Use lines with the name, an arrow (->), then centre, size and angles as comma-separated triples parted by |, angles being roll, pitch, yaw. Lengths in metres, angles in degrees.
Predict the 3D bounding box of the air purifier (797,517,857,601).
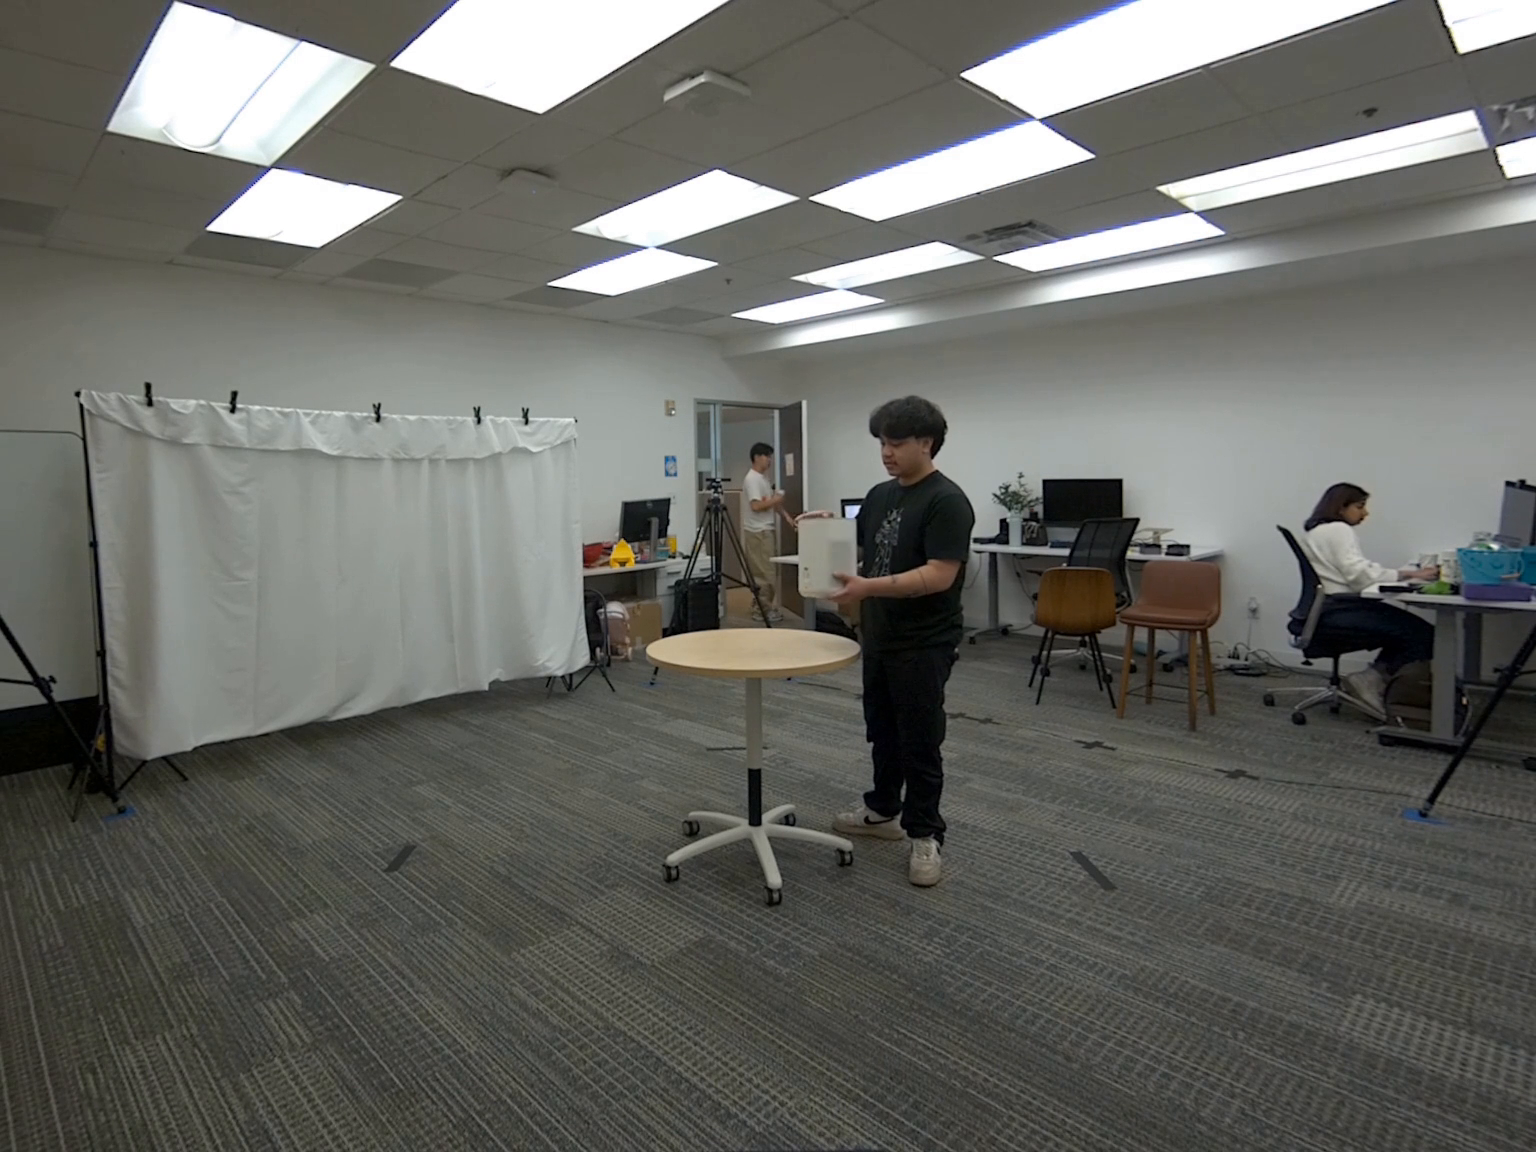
air purifier -> 0.208, -0.063, 2.899 | 0.167, 0.266, 0.175 | 0, -2, -30
